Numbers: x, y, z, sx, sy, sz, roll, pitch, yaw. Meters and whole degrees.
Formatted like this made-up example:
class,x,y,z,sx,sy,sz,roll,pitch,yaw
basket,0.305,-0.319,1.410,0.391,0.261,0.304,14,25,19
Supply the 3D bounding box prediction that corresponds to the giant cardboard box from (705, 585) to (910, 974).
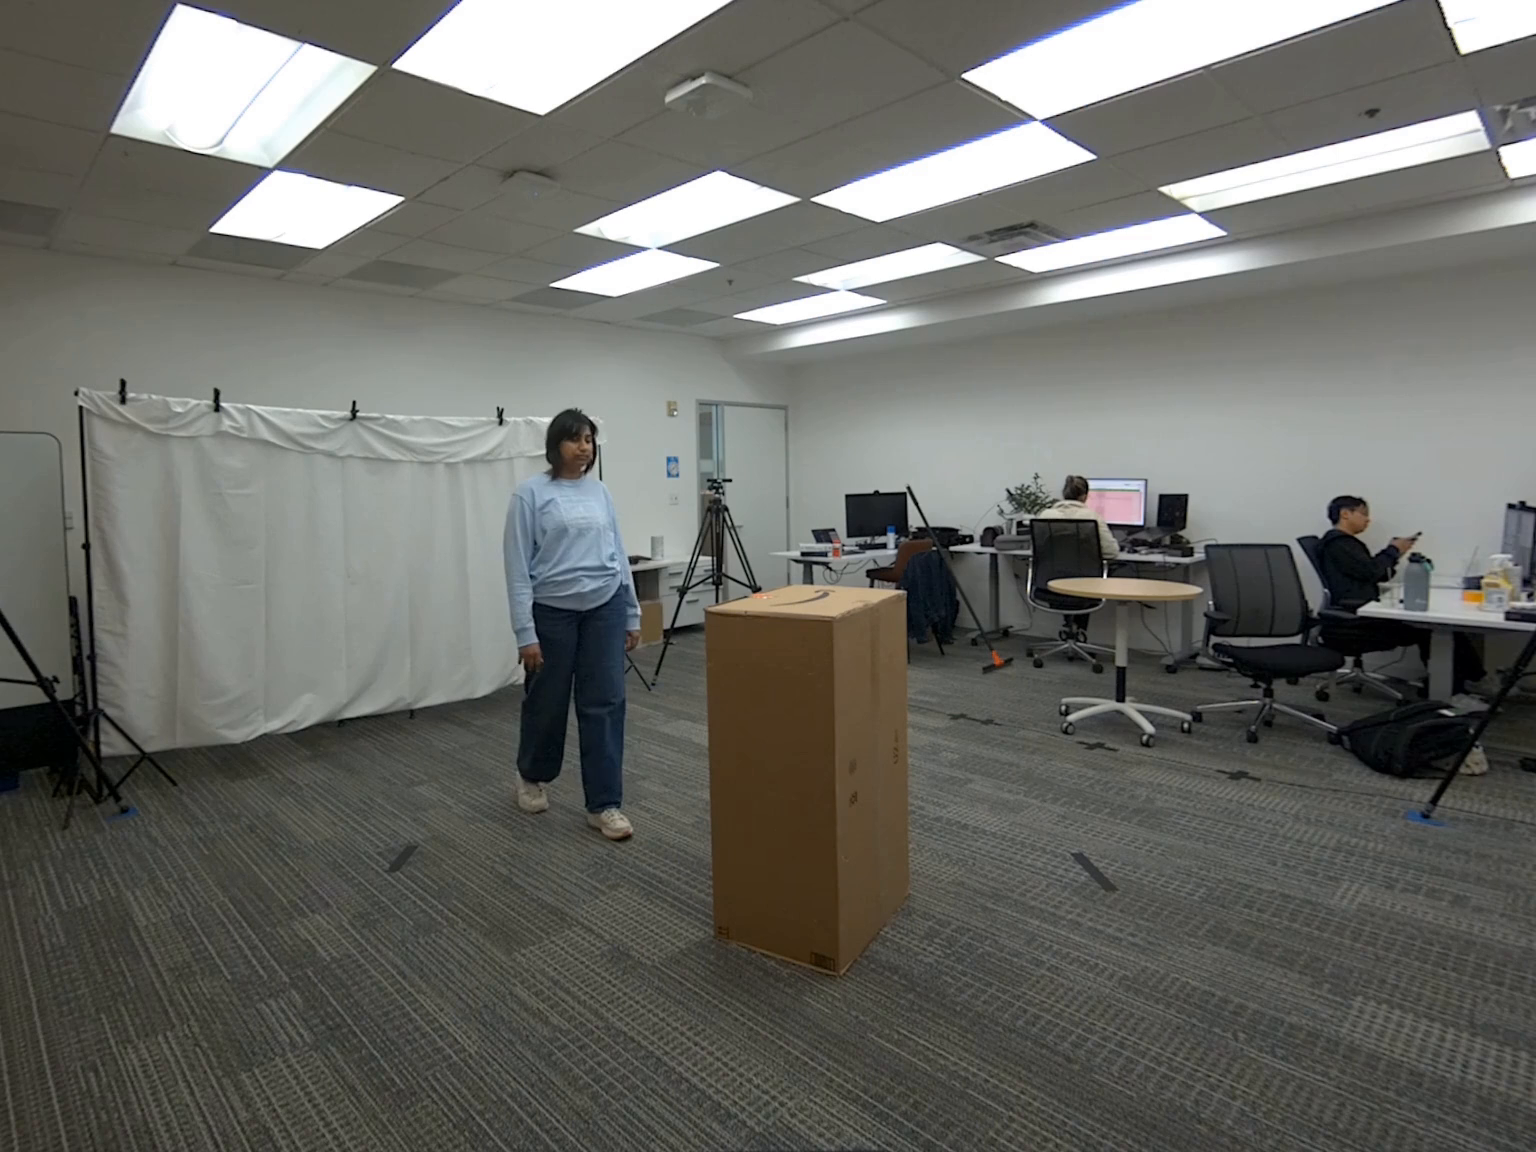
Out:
class,x,y,z,sx,sy,sz,roll,pitch,yaw
giant cardboard box,0.141,0.579,2.699,0.438,1.022,0.564,1,5,31
